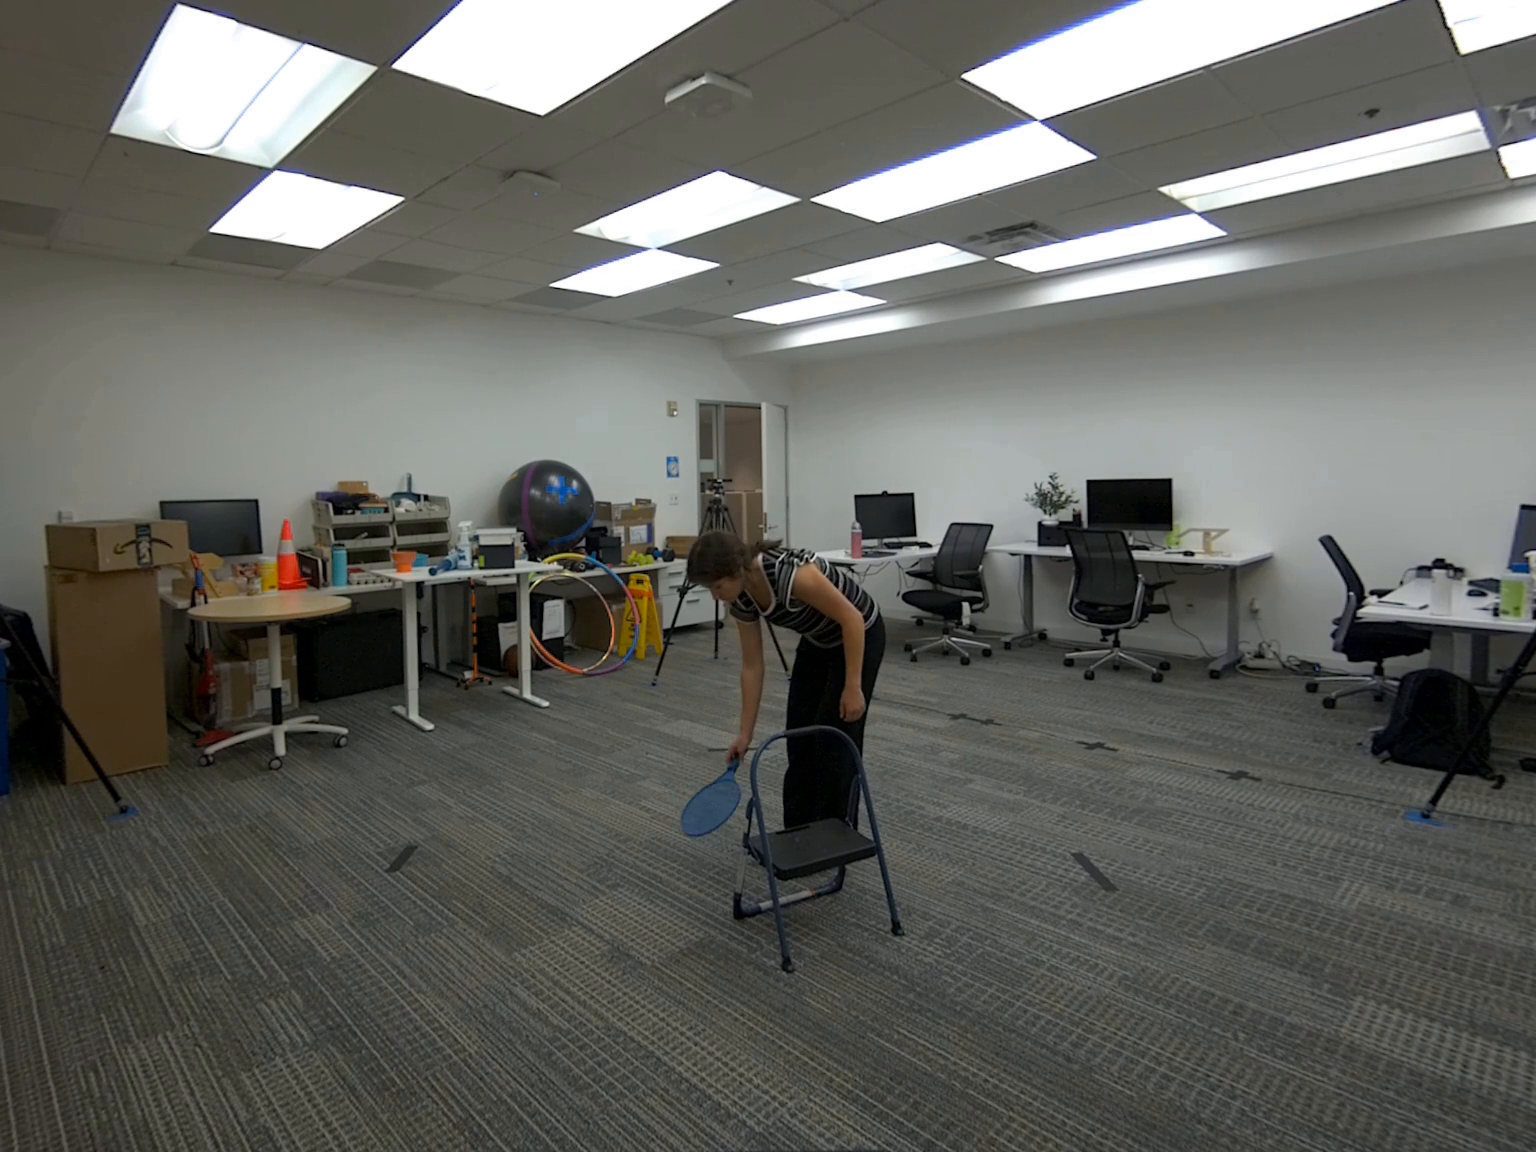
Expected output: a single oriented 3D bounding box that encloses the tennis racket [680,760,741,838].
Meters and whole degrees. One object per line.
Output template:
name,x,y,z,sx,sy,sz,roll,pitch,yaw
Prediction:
tennis racket,-0.167,0.752,2.986,0.218,0.031,0.433,-11,26,35
